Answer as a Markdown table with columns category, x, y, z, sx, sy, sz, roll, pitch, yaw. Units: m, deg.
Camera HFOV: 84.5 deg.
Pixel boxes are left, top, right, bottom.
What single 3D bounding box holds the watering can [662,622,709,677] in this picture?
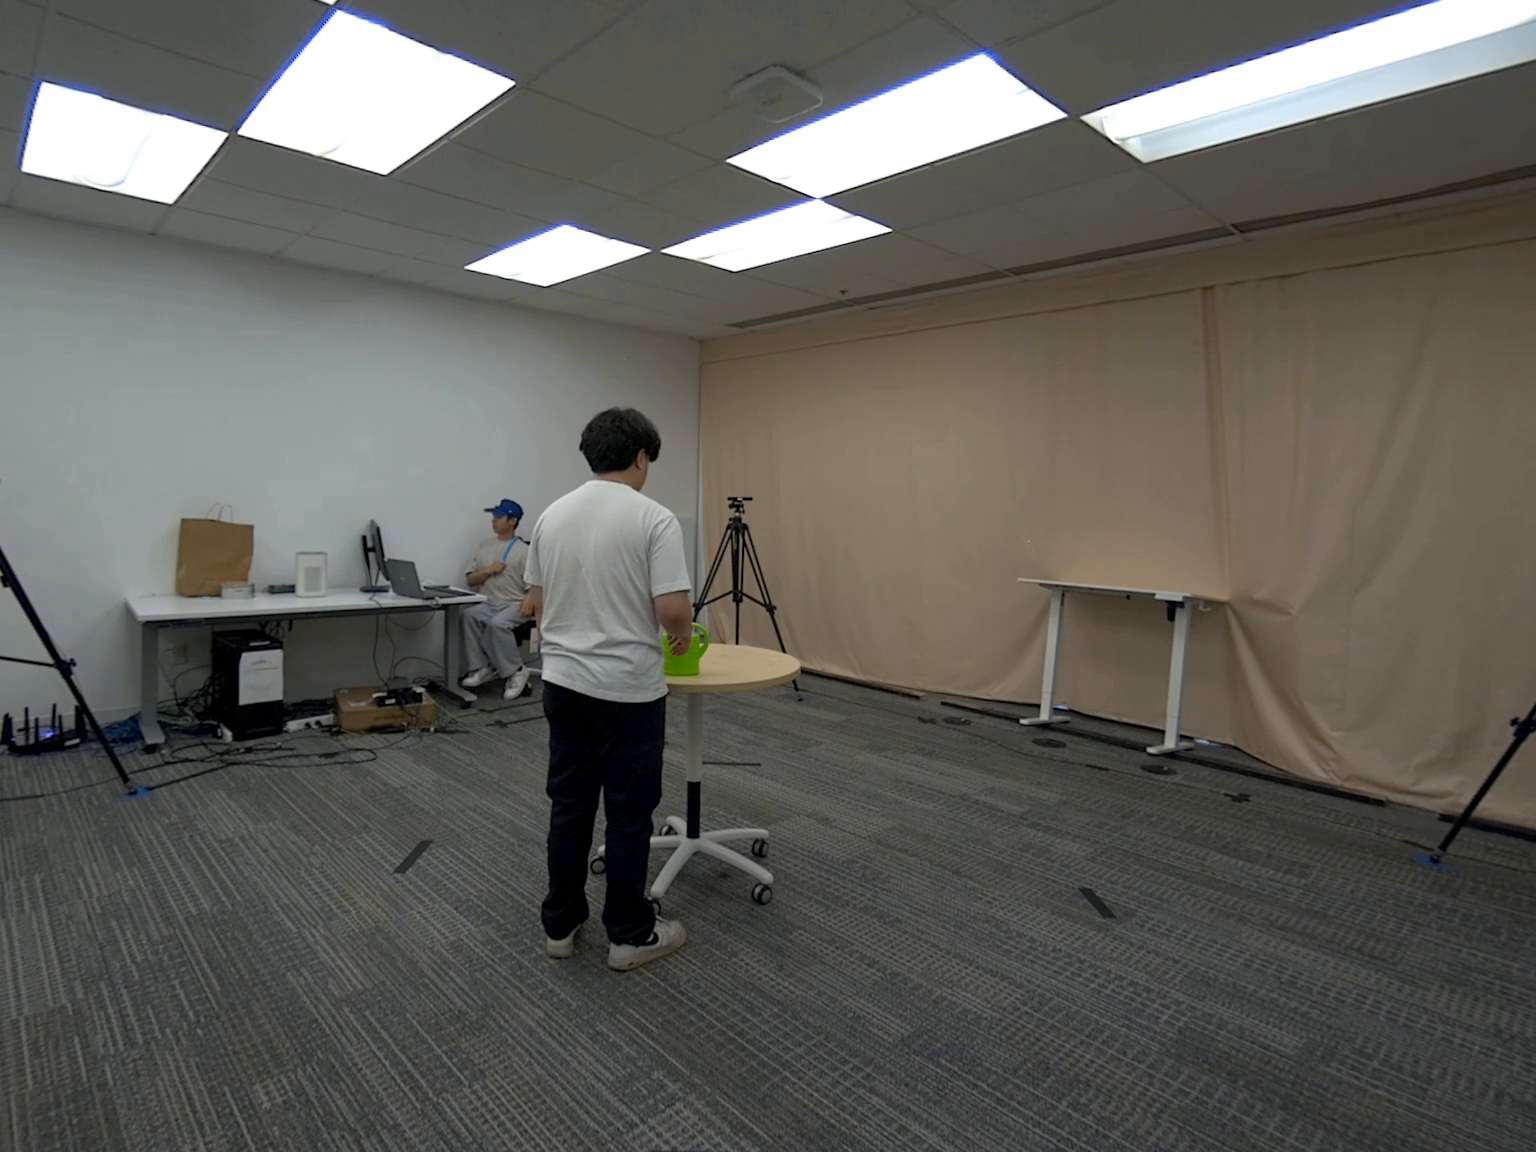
| category | x | y | z | sx | sy | sz | roll | pitch | yaw |
| --- | --- | --- | --- | --- | --- | --- | --- | --- | --- |
| watering can | -0.352 | 0.249 | 2.866 | 0.280 | 0.176 | 0.097 | 3 | 4 | 9 |
